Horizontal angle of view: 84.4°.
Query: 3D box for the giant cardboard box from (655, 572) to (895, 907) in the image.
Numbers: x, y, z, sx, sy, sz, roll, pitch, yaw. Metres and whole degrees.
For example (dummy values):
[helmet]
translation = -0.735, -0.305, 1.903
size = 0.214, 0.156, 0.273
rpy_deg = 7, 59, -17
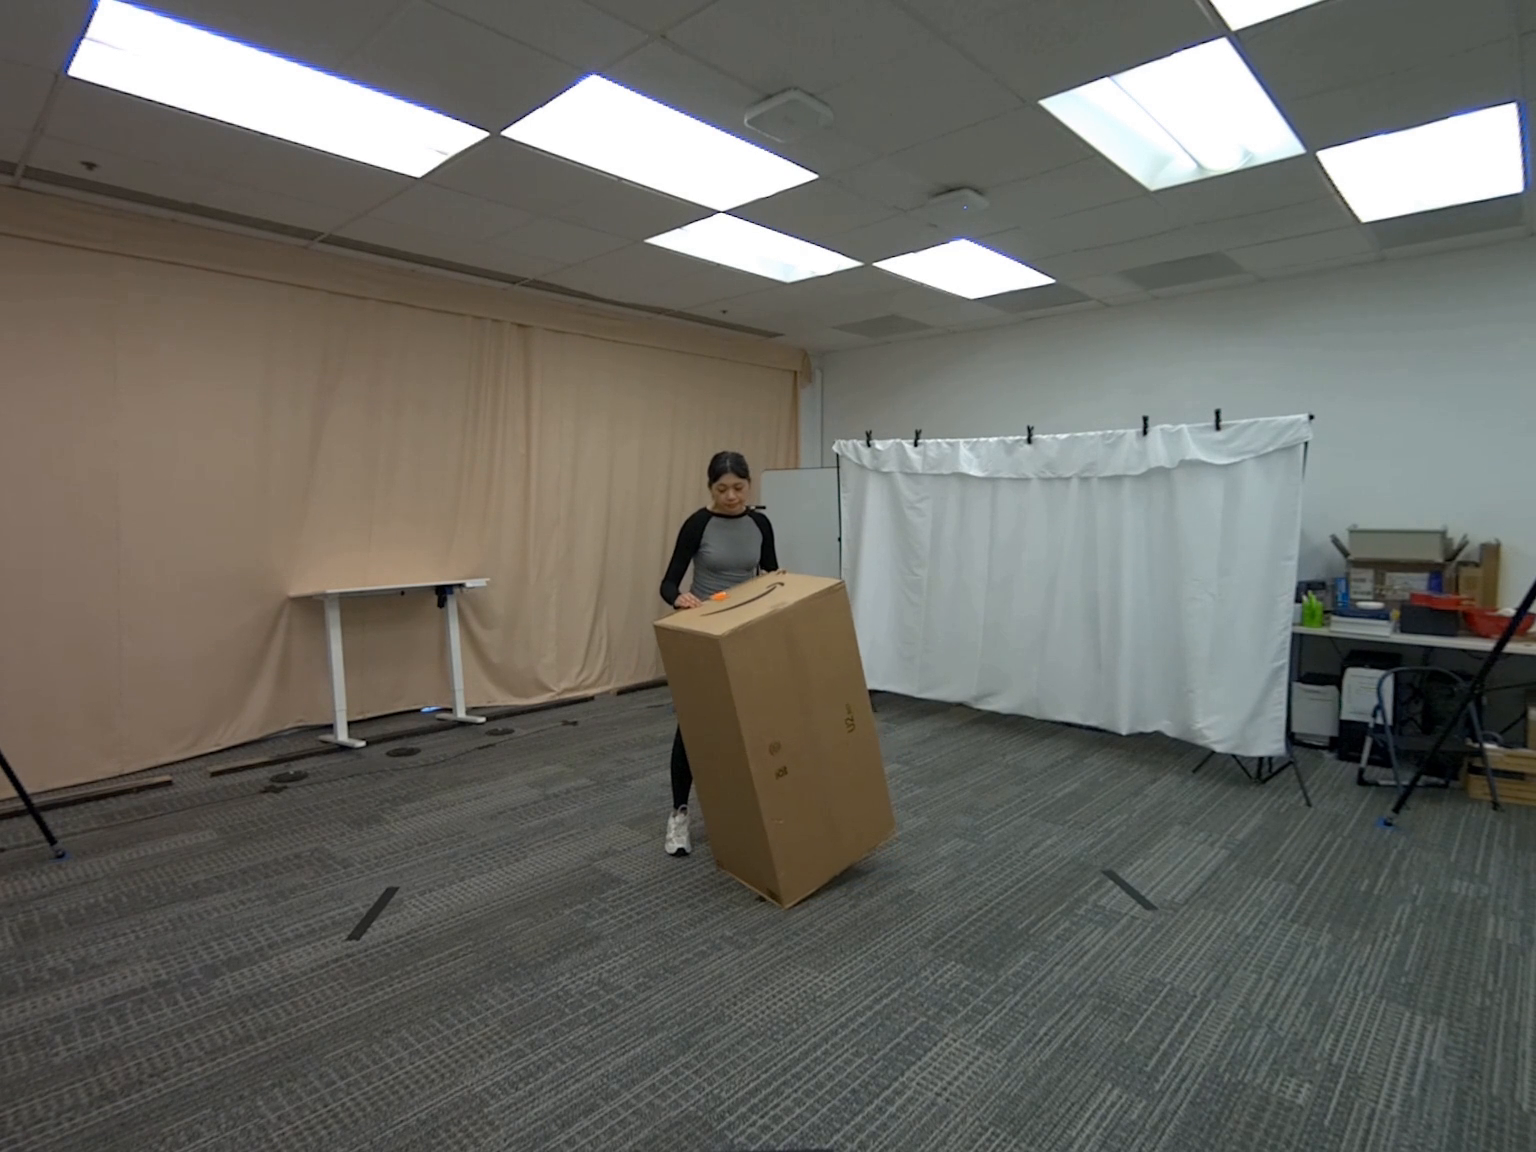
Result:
[giant cardboard box]
translation = 0.039, 0.571, 3.119
size = 0.571, 1.016, 0.461
rpy_deg = -21, 16, -34
